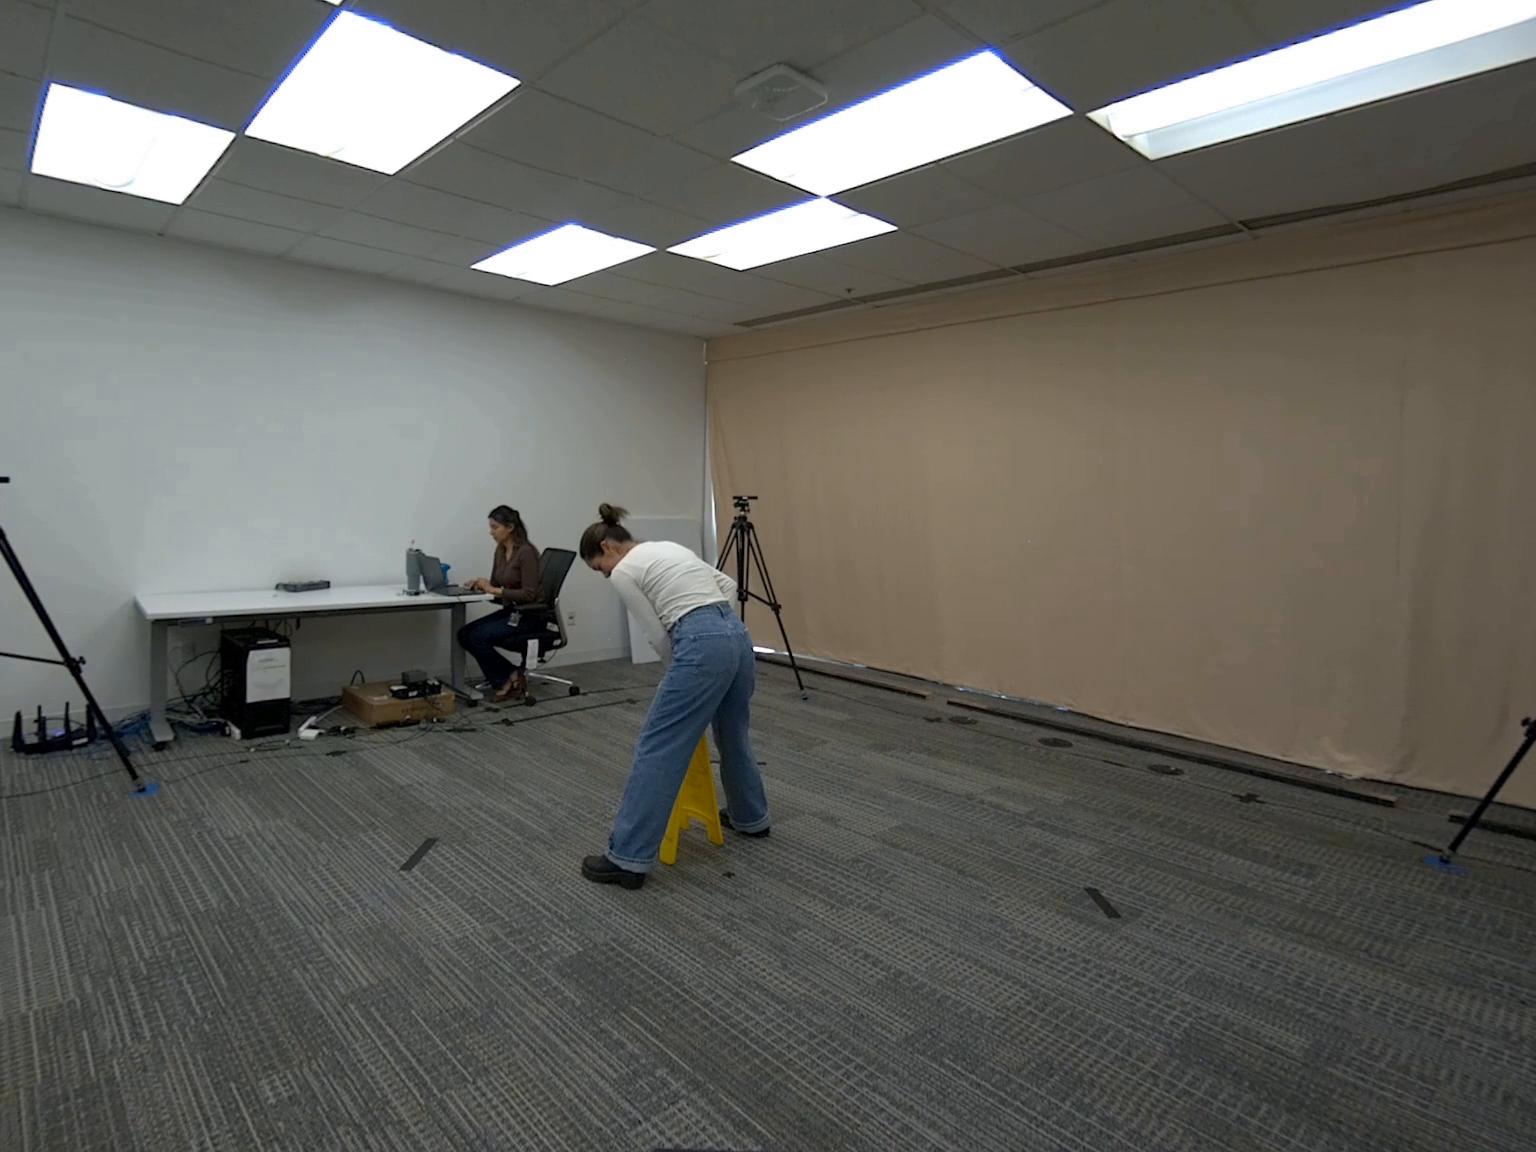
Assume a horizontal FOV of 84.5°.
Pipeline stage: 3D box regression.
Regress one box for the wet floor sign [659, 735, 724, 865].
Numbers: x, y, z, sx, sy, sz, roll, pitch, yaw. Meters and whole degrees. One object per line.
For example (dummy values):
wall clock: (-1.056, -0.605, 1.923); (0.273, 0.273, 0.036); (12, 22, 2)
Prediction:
wet floor sign: (-0.371, 0.757, 3.354); (0.289, 0.645, 0.283); (3, 3, 42)
